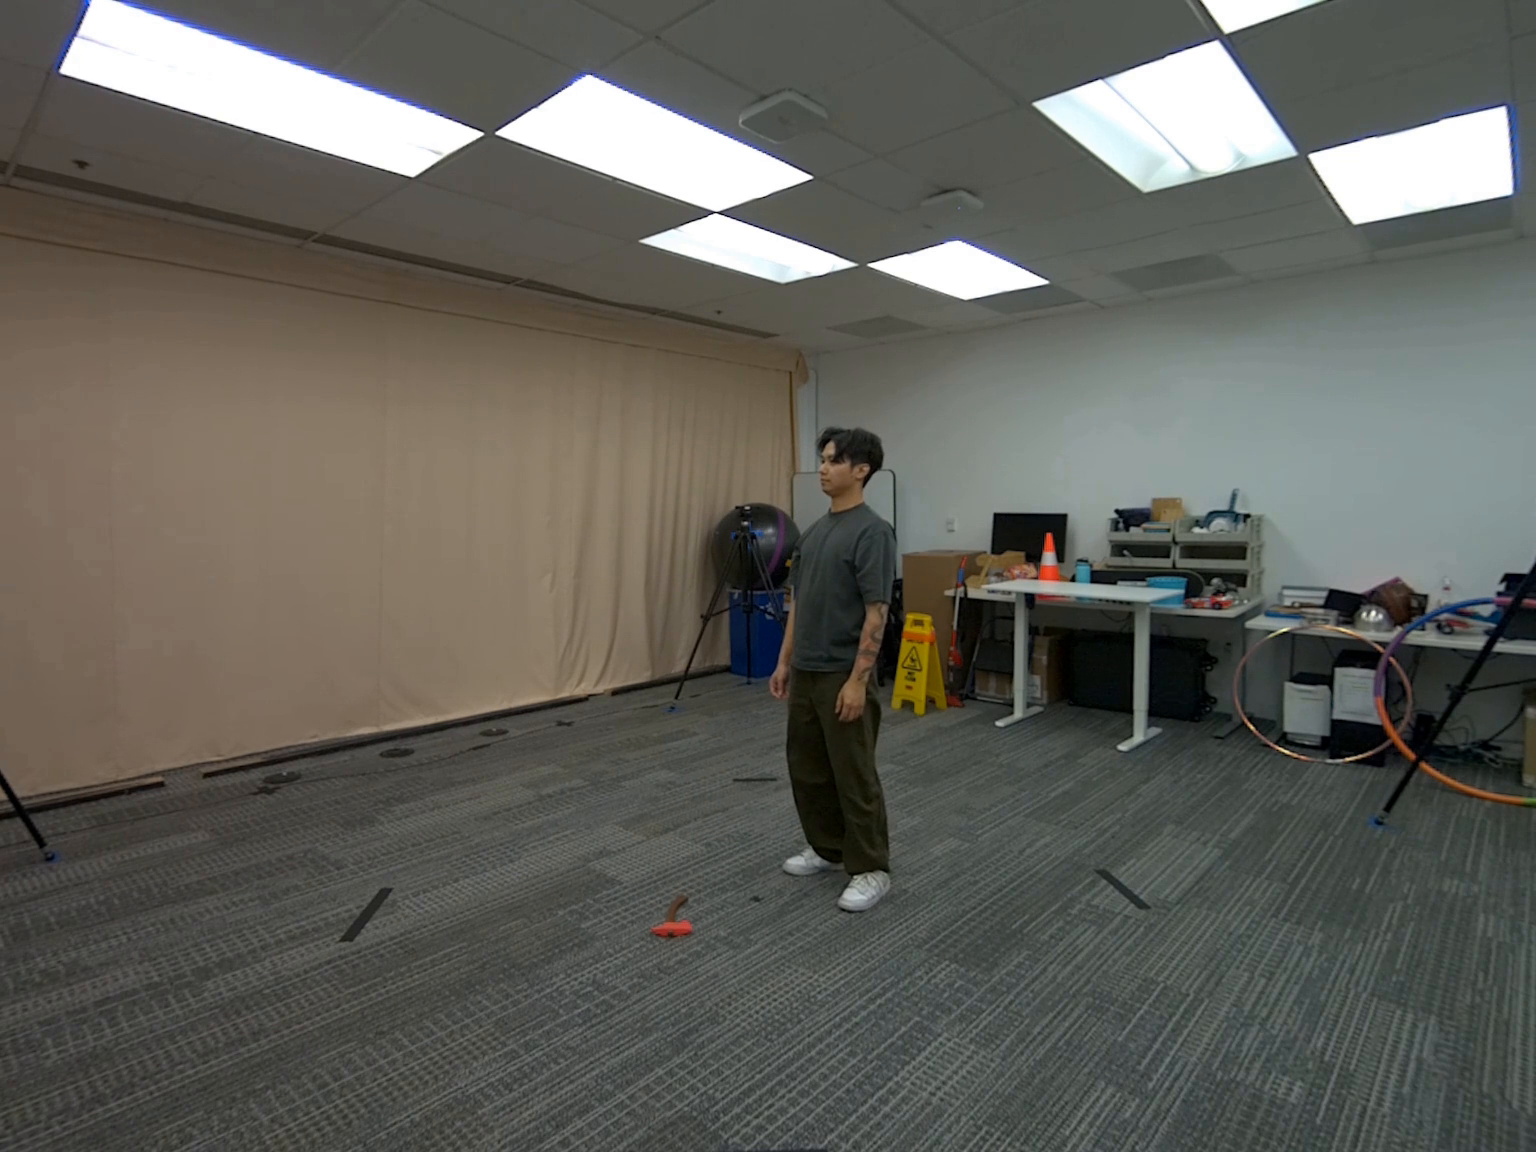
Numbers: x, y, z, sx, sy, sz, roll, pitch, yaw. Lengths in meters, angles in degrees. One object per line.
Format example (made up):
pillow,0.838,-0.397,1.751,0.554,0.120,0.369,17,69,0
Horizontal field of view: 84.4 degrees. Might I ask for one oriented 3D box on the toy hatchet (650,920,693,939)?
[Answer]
toy hatchet,-0.287,1.145,2.838,0.133,0.029,0.266,0,4,15
